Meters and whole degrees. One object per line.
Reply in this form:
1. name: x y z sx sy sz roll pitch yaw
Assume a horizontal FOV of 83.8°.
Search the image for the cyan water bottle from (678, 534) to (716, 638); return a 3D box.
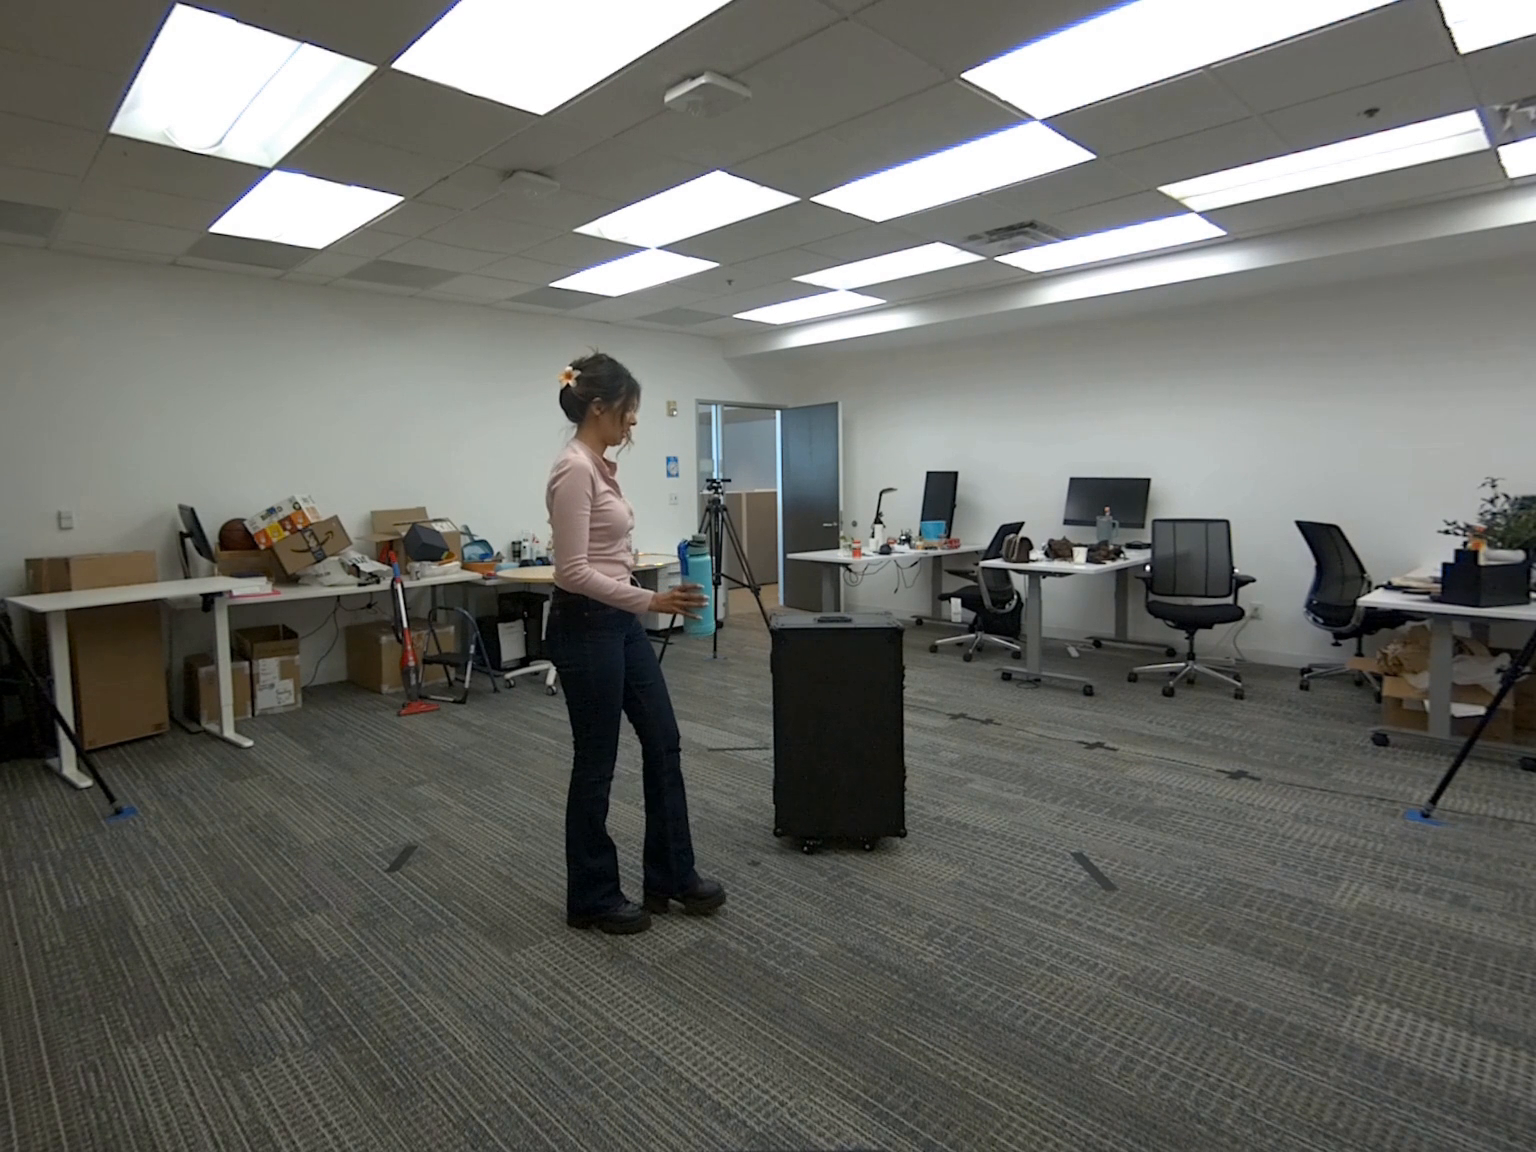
1. cyan water bottle: -0.201 0.022 2.427 0.092 0.281 0.093 -4 10 -1
